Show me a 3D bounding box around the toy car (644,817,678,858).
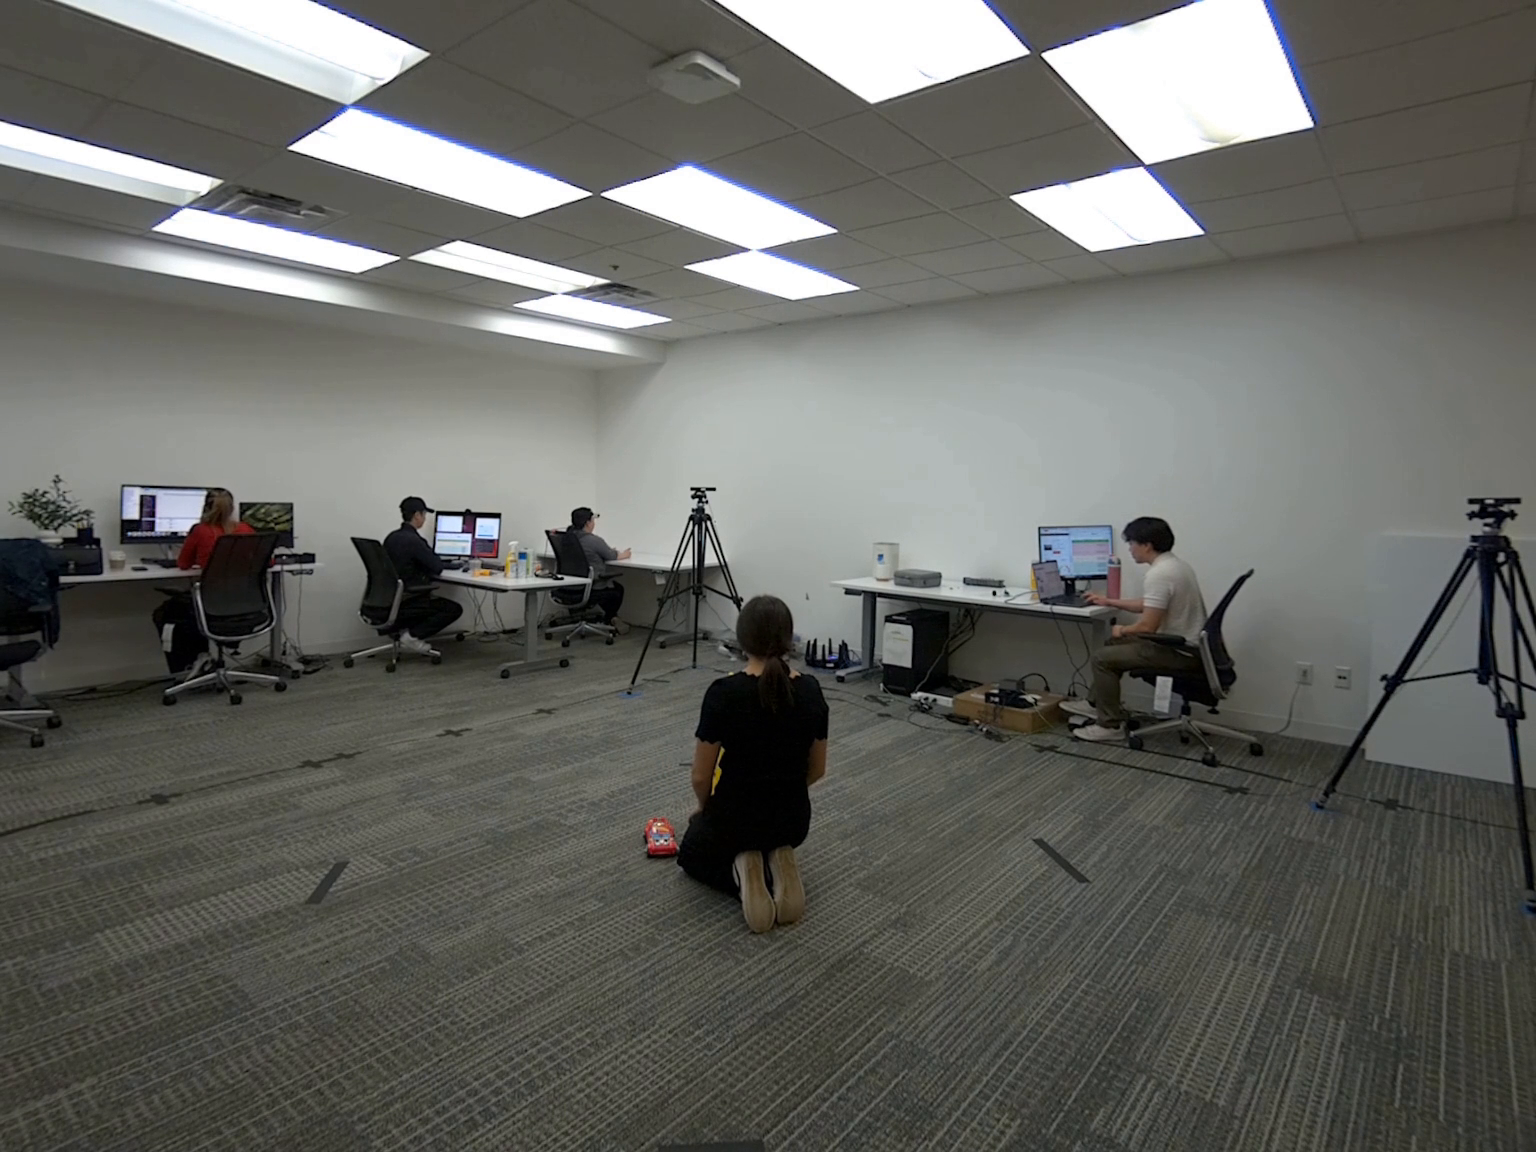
[{"bbox_3d":[-0.426,1.013,3.307,0.129,0.082,0.261,-1,17,-11],"label":"toy car"}]
